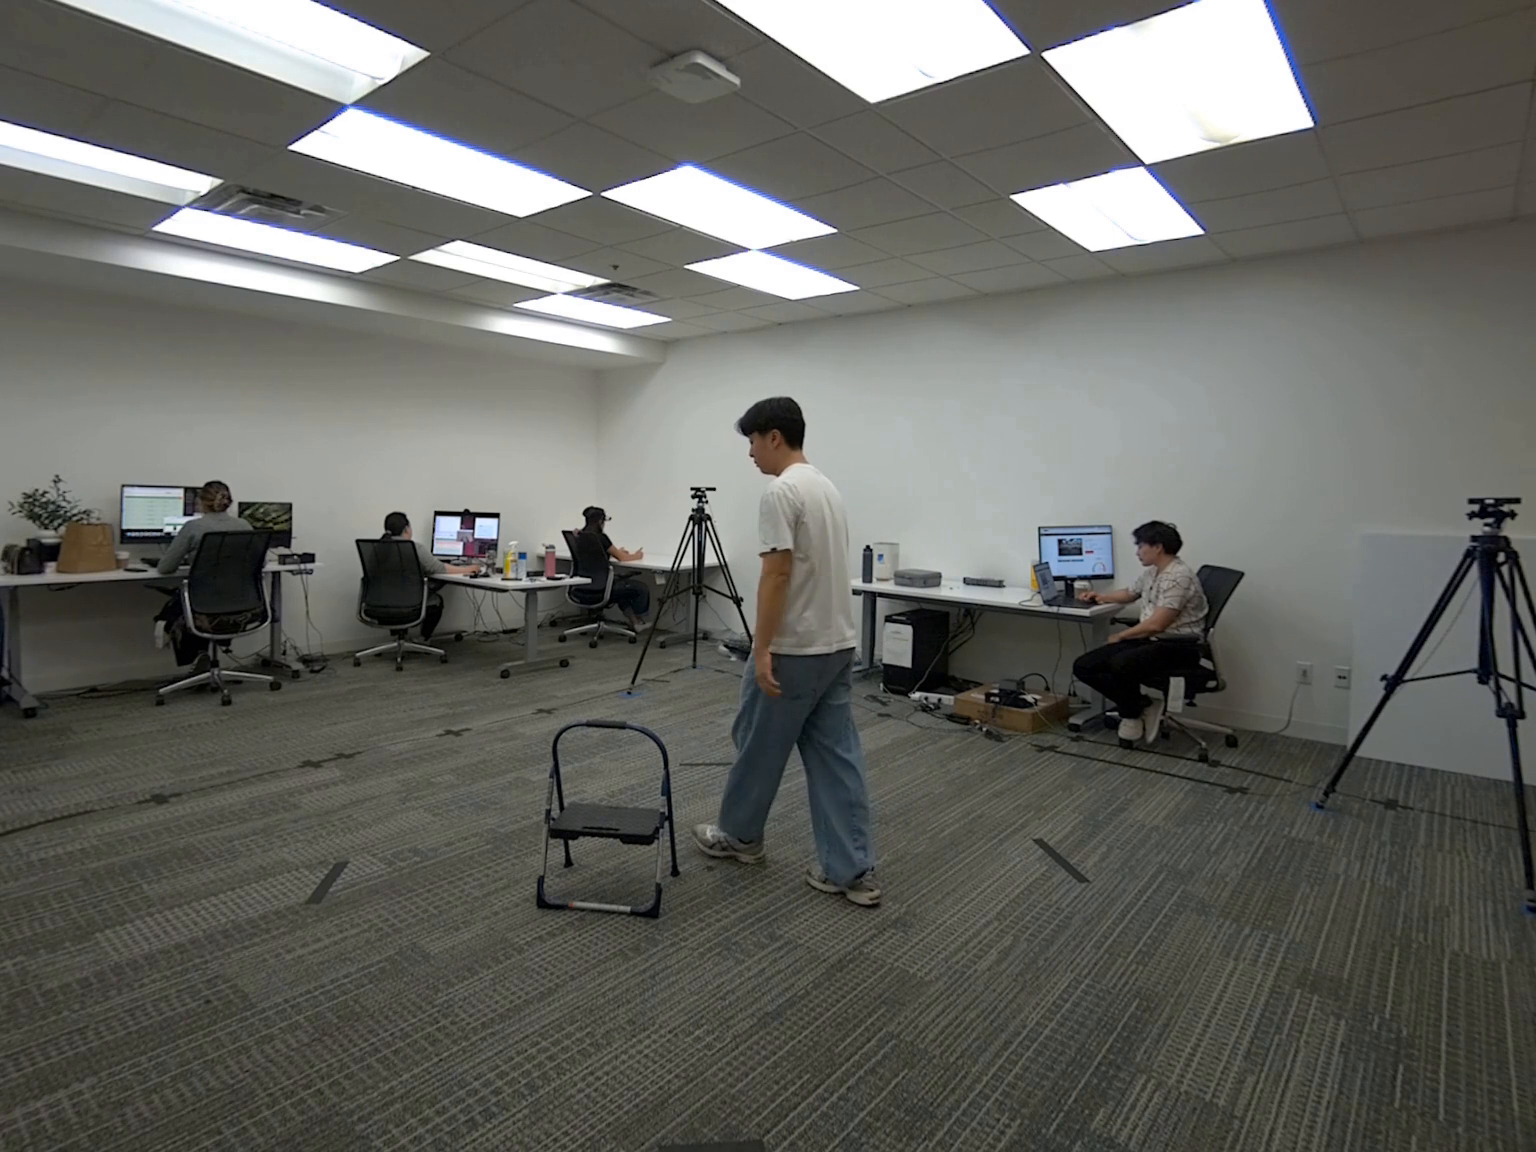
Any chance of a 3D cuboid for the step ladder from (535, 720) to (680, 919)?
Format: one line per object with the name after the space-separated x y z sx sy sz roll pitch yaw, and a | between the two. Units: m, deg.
-0.554 0.779 2.908 0.433 0.604 0.348 1 3 5 | step ladder
